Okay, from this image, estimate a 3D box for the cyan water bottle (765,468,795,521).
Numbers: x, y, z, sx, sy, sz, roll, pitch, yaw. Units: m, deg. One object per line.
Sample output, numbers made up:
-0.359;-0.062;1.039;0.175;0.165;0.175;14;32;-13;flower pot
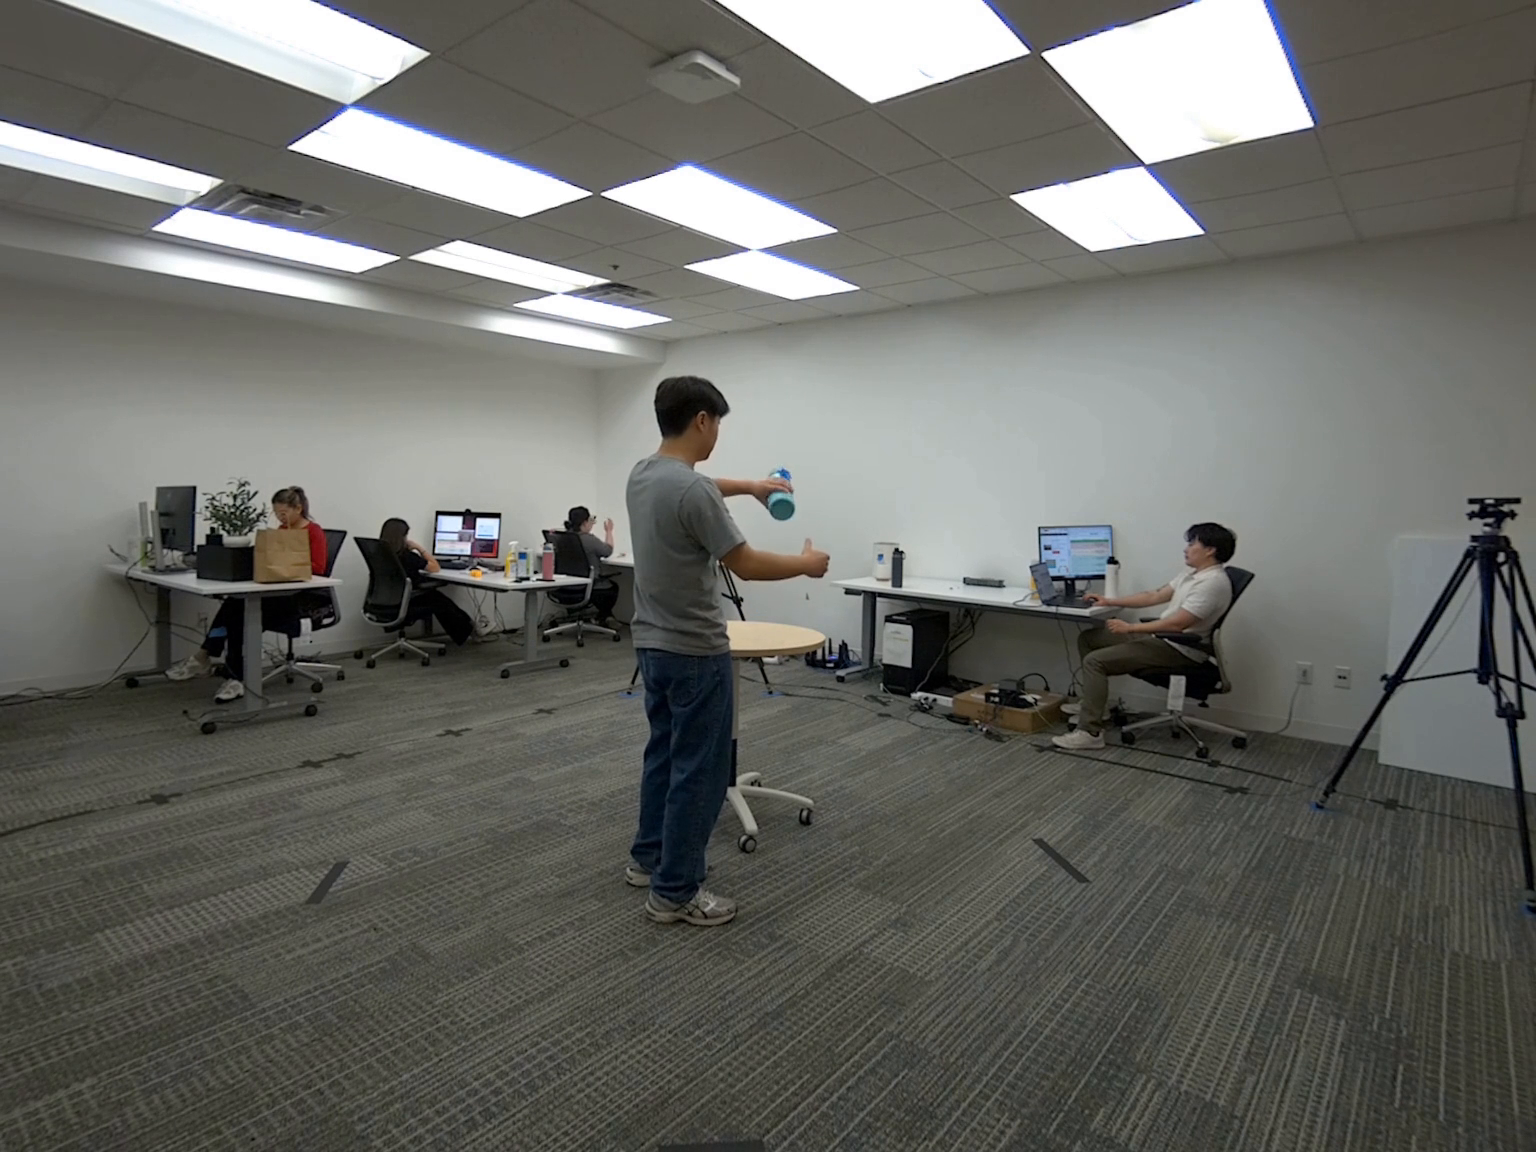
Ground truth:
0.027;-0.293;3.053;0.092;0.090;0.290;0;31;-2;cyan water bottle
